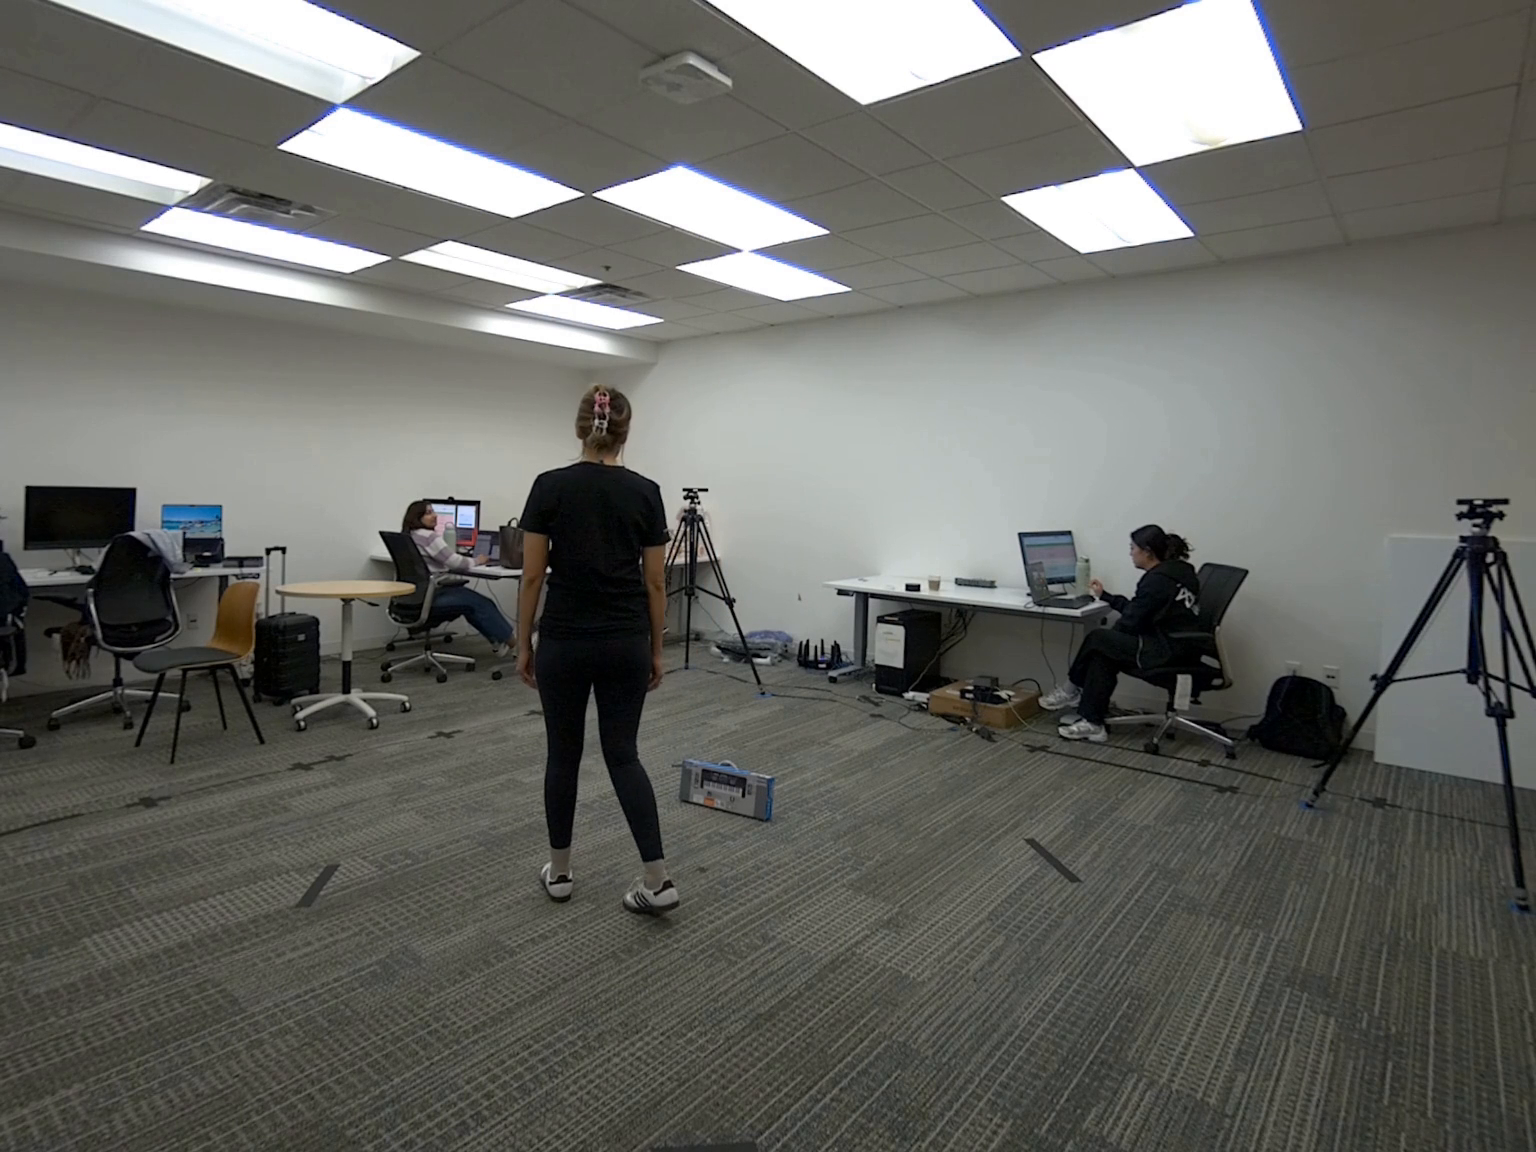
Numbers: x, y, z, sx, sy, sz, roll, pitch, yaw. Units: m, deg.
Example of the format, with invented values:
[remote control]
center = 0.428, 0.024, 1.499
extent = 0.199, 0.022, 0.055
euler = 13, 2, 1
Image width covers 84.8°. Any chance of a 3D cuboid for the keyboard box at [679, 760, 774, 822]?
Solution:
[keyboard box]
center = -0.194, 0.925, 3.708
extent = 0.450, 0.176, 0.057
euler = 4, -4, 29
